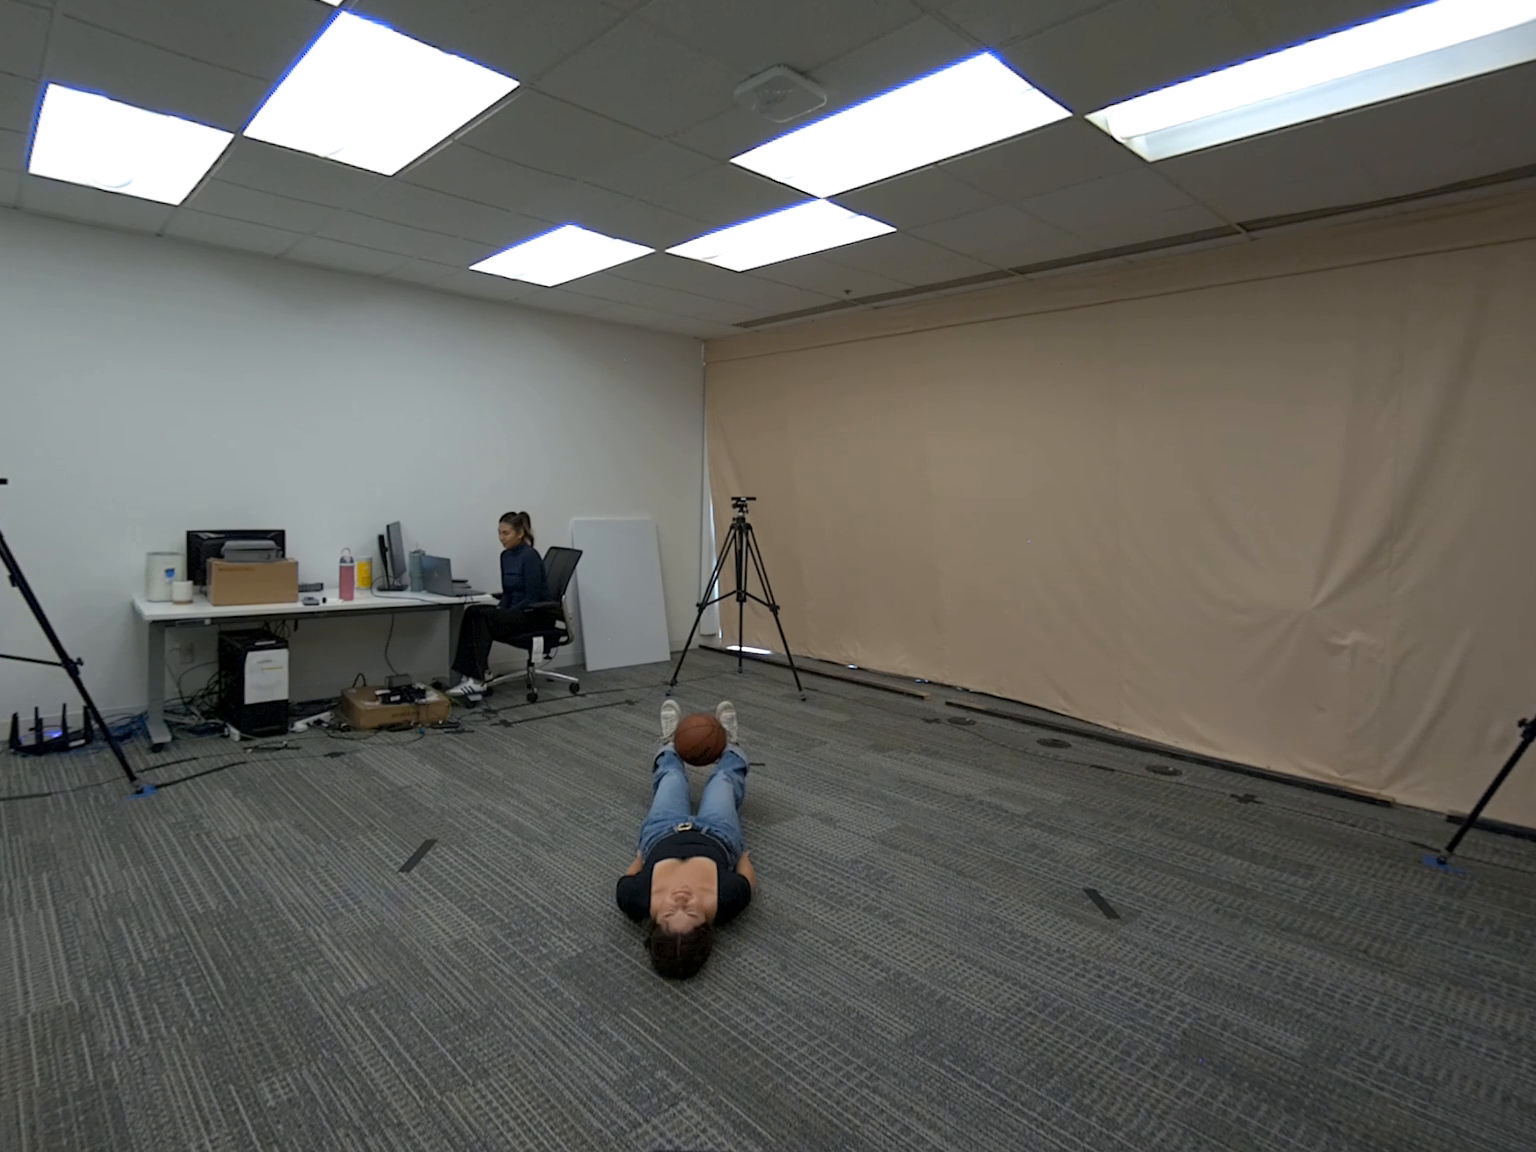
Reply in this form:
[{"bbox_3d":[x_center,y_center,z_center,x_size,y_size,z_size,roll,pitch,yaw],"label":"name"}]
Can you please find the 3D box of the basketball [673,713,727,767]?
[{"bbox_3d":[-0.321,0.740,3.839,0.236,0.235,0.237,1,4,-1],"label":"basketball"}]
